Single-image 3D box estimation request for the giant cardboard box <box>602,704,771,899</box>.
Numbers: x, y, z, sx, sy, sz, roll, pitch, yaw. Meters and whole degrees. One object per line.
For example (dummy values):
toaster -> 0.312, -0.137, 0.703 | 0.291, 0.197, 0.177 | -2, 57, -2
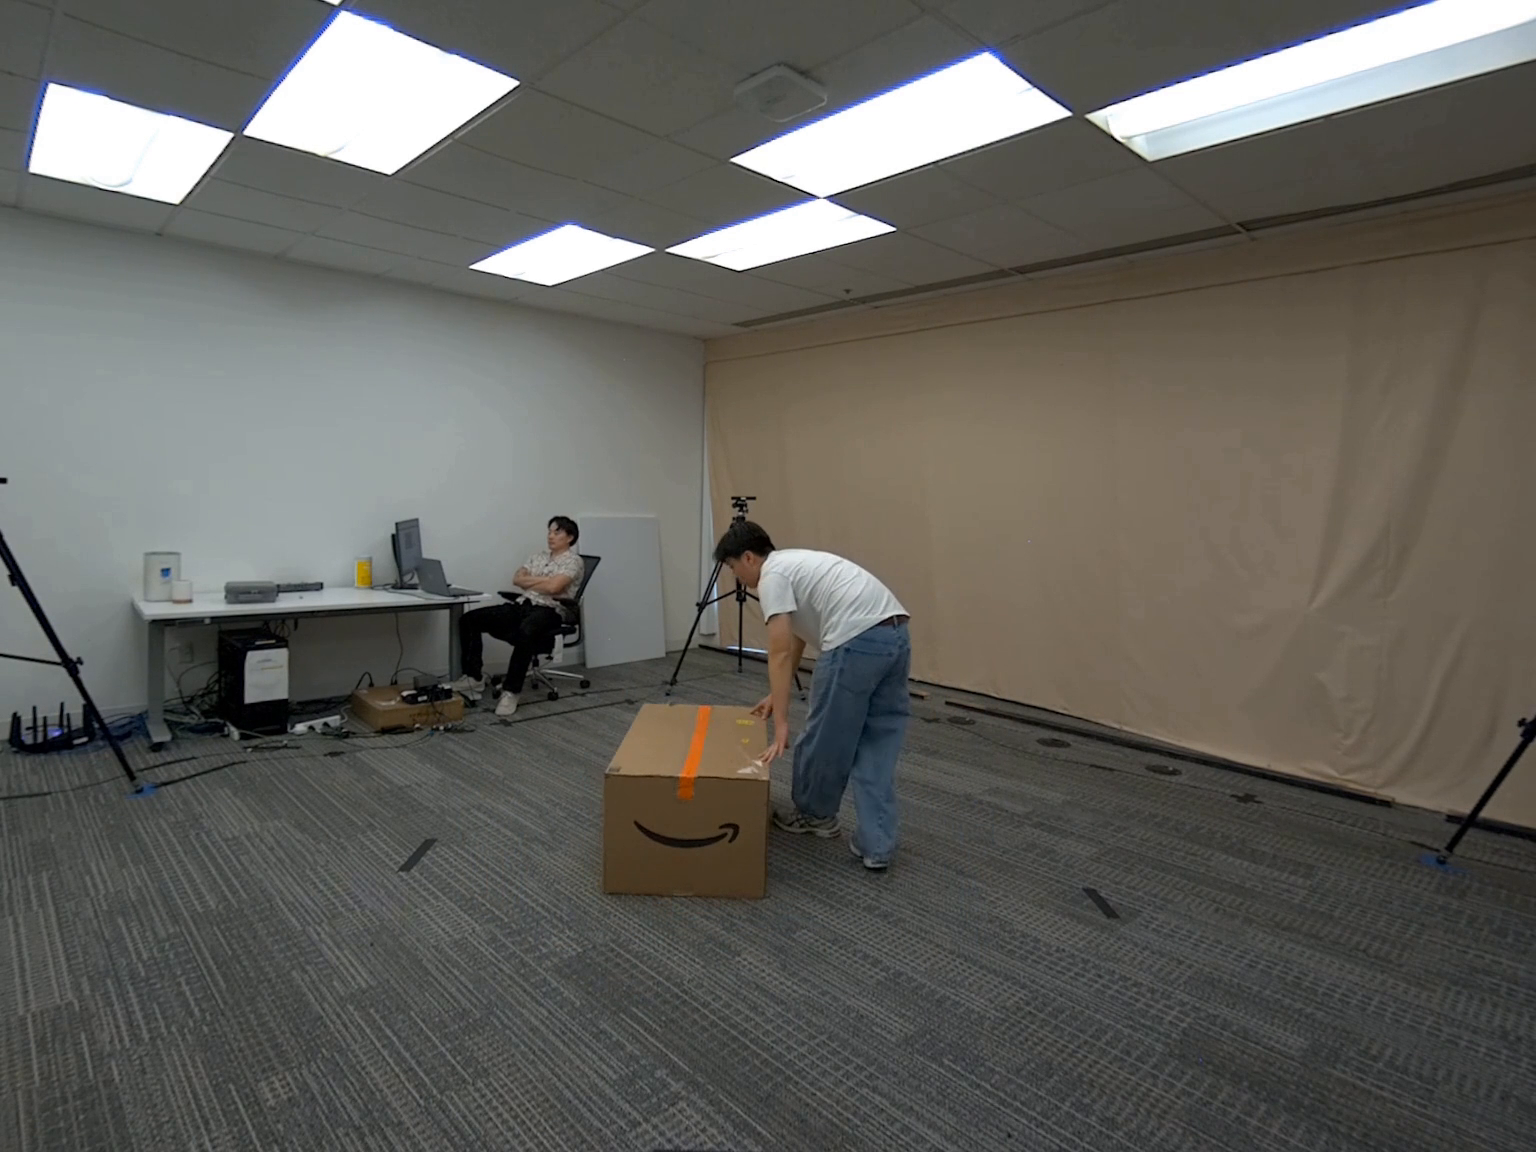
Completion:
giant cardboard box -> -0.302, 0.857, 3.425 | 0.578, 0.425, 1.028 | 3, 5, 0
